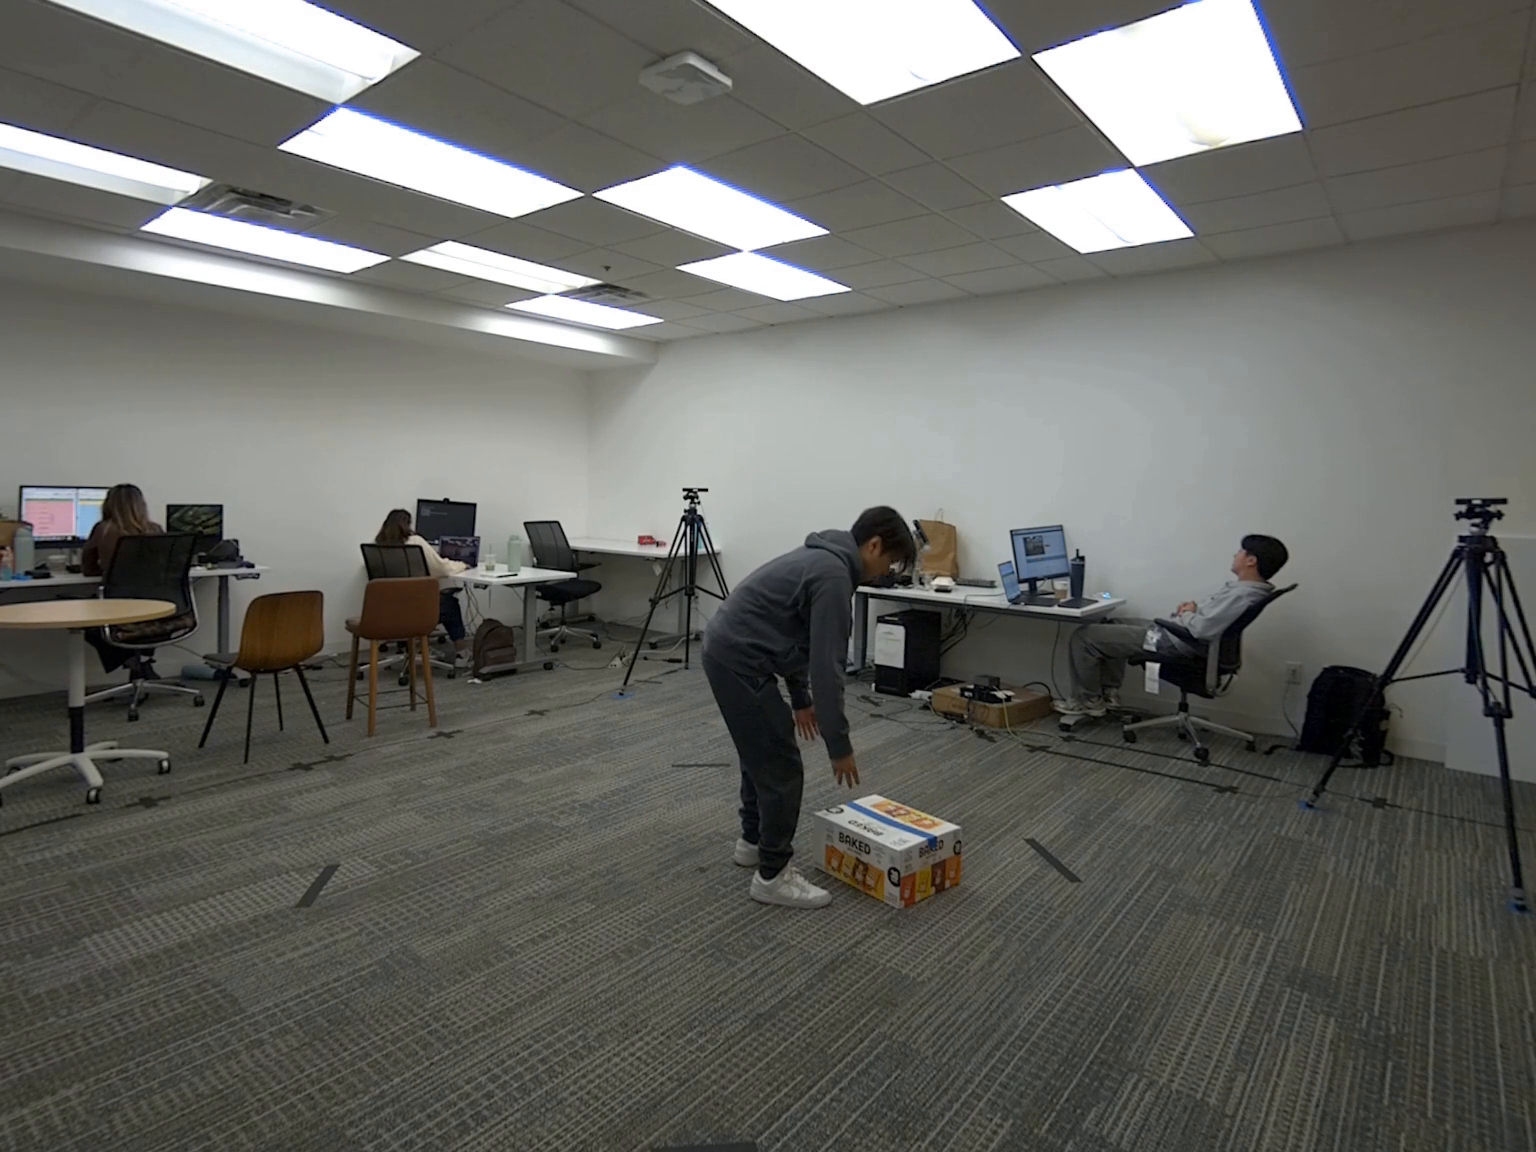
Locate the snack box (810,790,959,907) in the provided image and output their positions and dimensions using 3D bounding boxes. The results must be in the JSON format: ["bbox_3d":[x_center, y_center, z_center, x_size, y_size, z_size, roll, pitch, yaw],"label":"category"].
[{"bbox_3d":[0.421,0.980,3.086,0.330,0.205,0.419,-3,7,-41],"label":"snack box"}]
